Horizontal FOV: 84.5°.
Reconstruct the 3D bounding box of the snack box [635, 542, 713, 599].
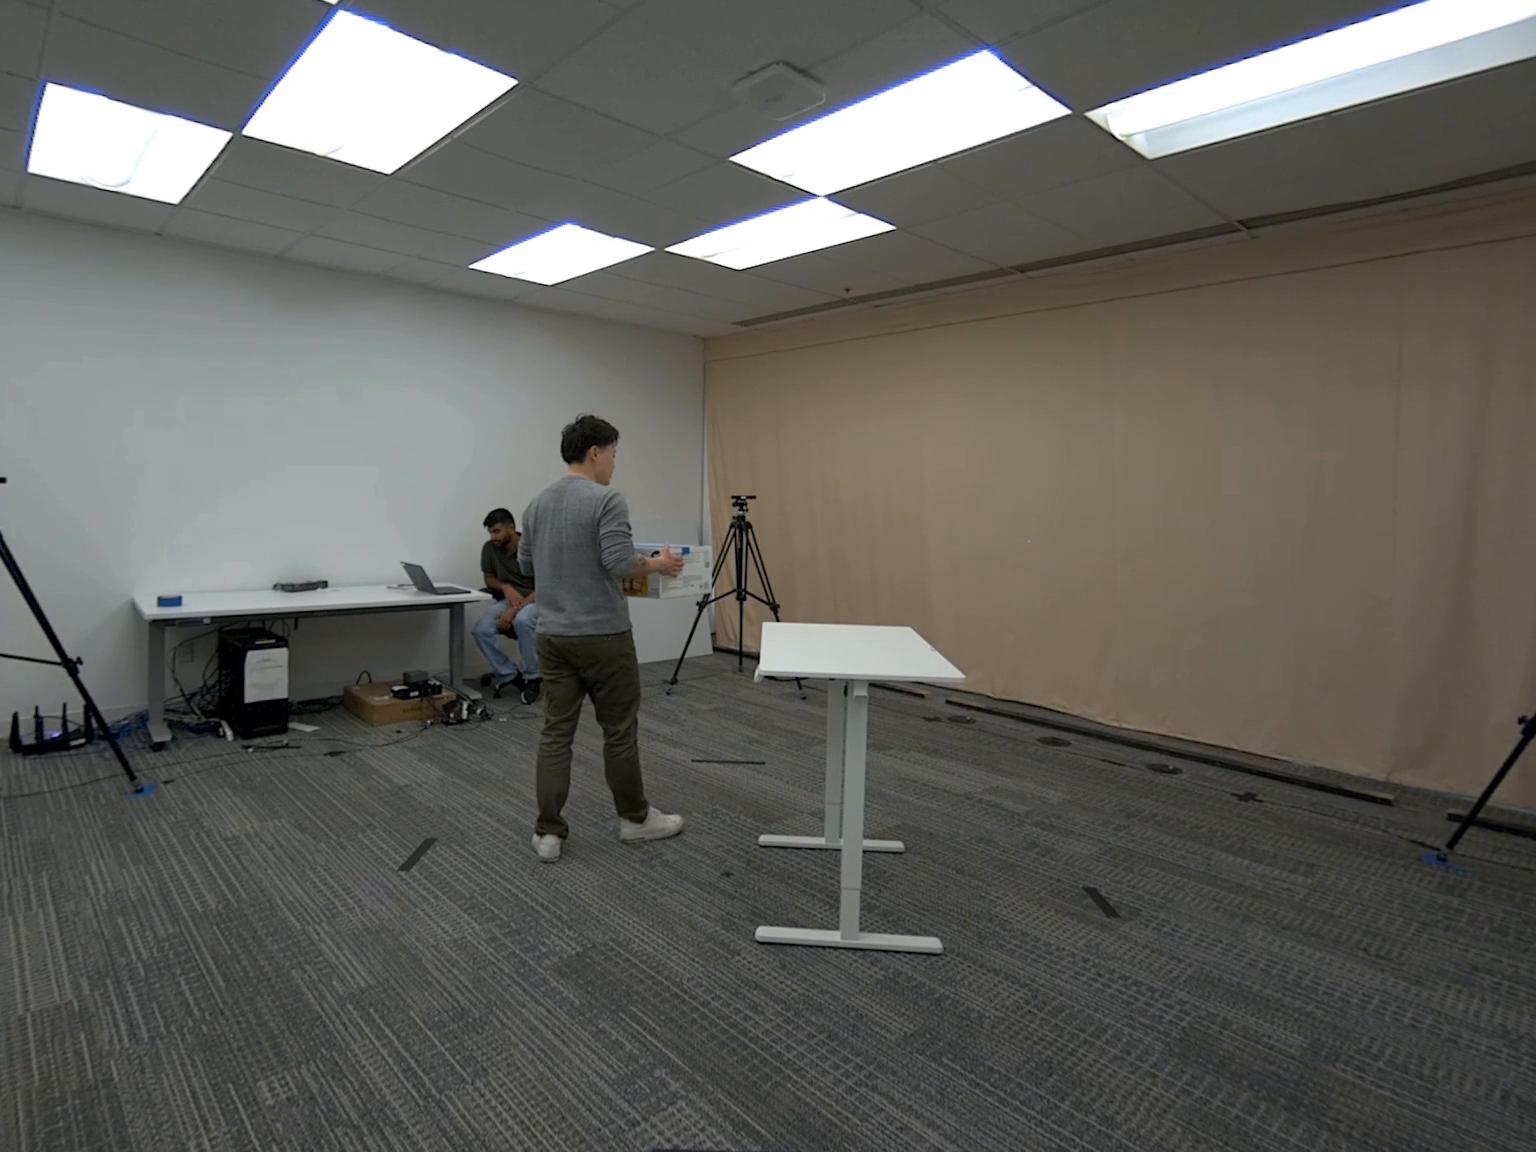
[{"bbox_3d":[-0.506,-0.028,3.568,0.415,0.205,0.333,3,5,35],"label":"snack box"}]
